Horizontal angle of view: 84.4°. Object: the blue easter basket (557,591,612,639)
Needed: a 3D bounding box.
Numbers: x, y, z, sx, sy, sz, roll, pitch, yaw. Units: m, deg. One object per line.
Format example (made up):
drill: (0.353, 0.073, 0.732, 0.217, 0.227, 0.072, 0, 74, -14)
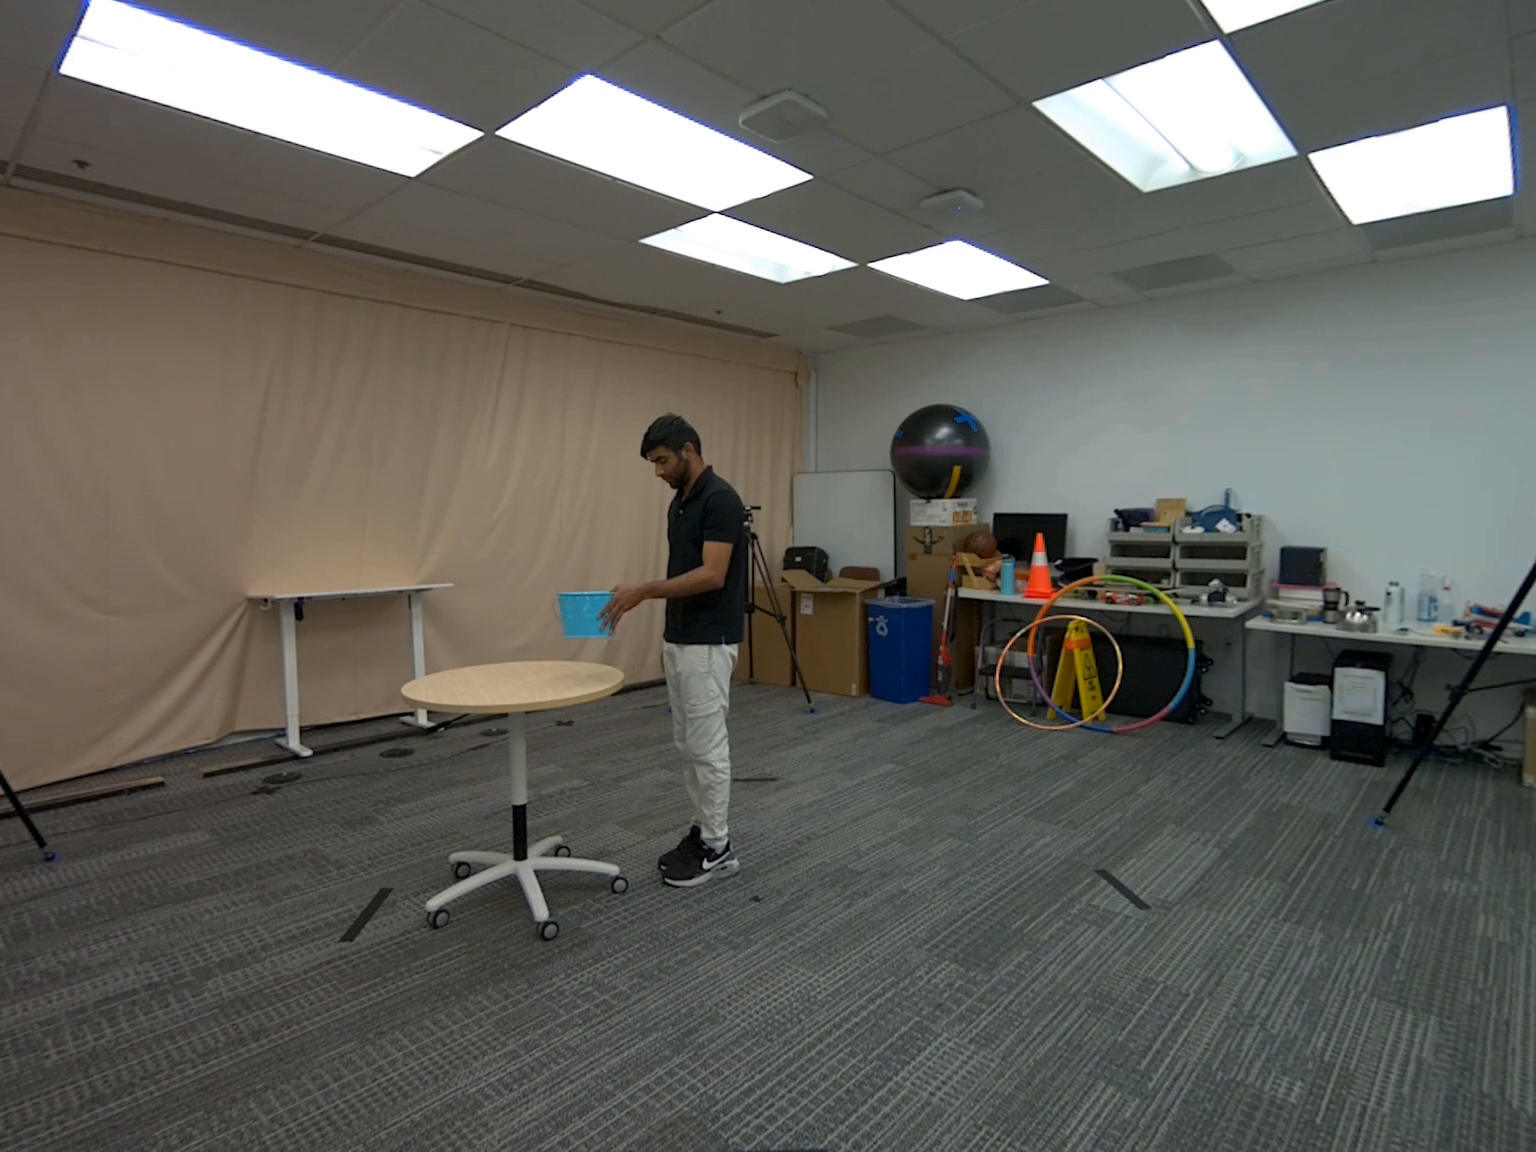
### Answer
blue easter basket: (-0.633, 0.135, 2.998, 0.243, 0.156, 0.244, 0, 2, -2)
